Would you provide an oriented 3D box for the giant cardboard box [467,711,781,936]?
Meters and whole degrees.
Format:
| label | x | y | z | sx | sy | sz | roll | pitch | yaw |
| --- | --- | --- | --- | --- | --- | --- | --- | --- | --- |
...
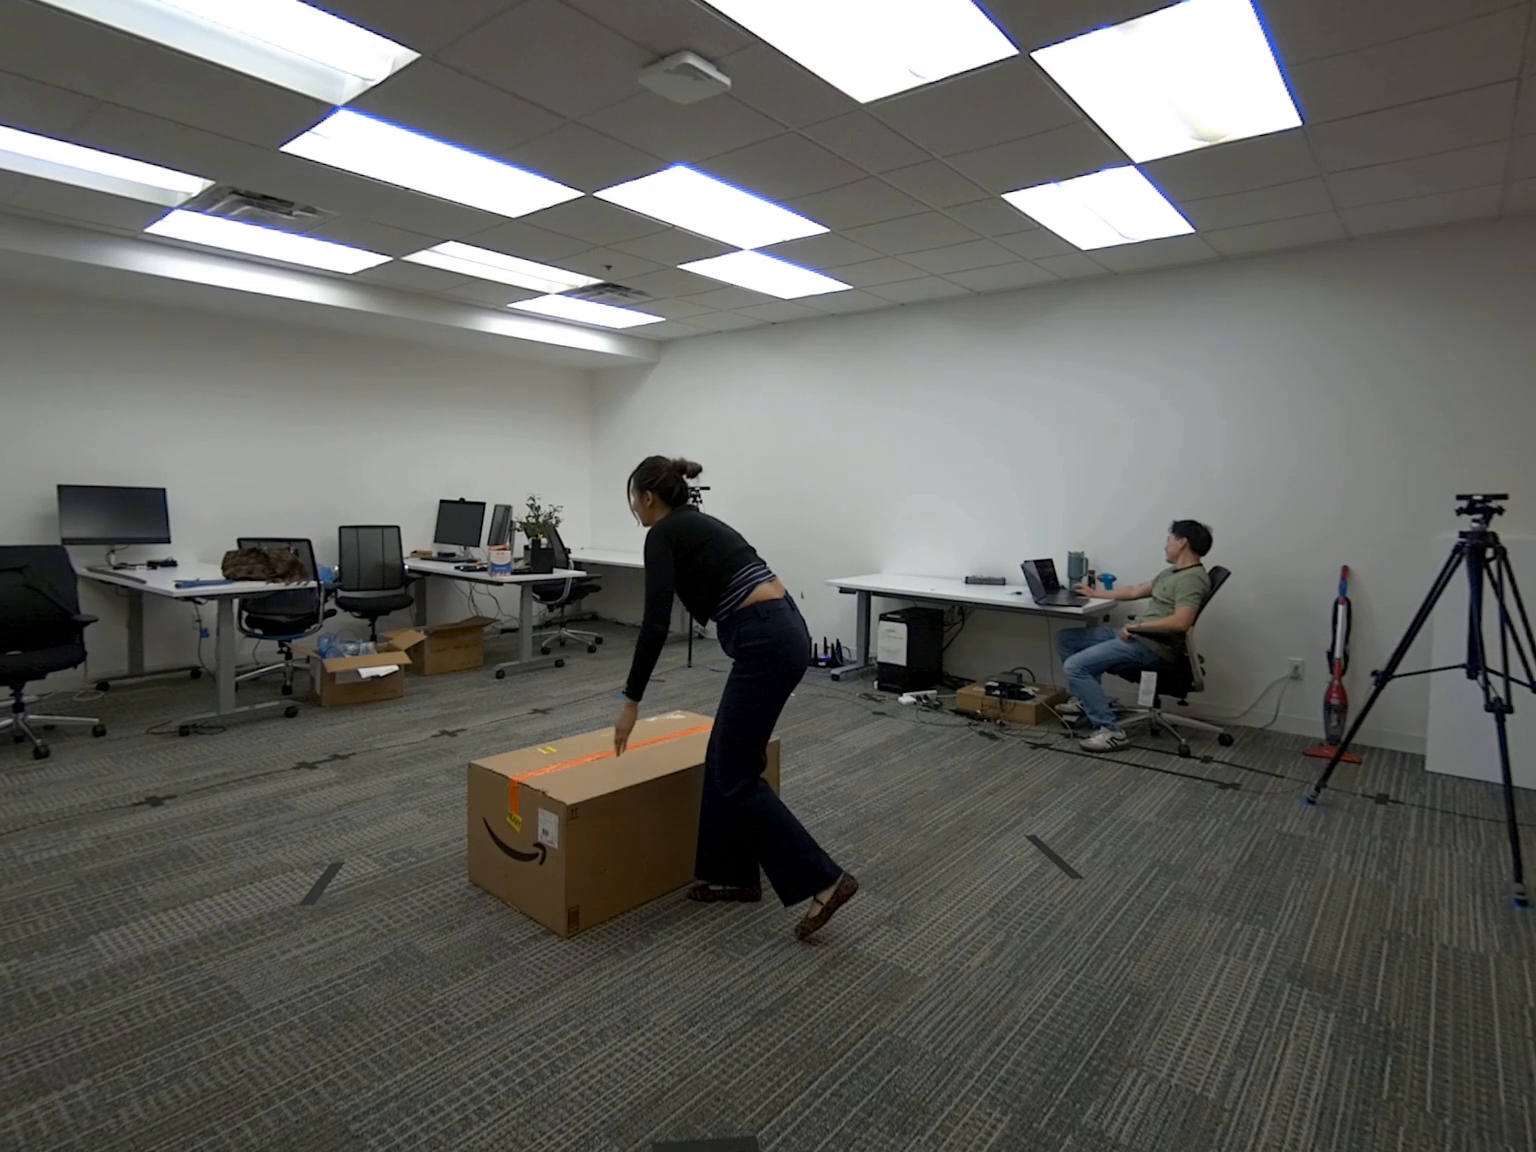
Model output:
| label | x | y | z | sx | sy | sz | roll | pitch | yaw |
| --- | --- | --- | --- | --- | --- | --- | --- | --- | --- |
| giant cardboard box | -0.516 | 0.845 | 3.148 | 0.597 | 0.424 | 0.995 | 6 | 7 | 42 |
